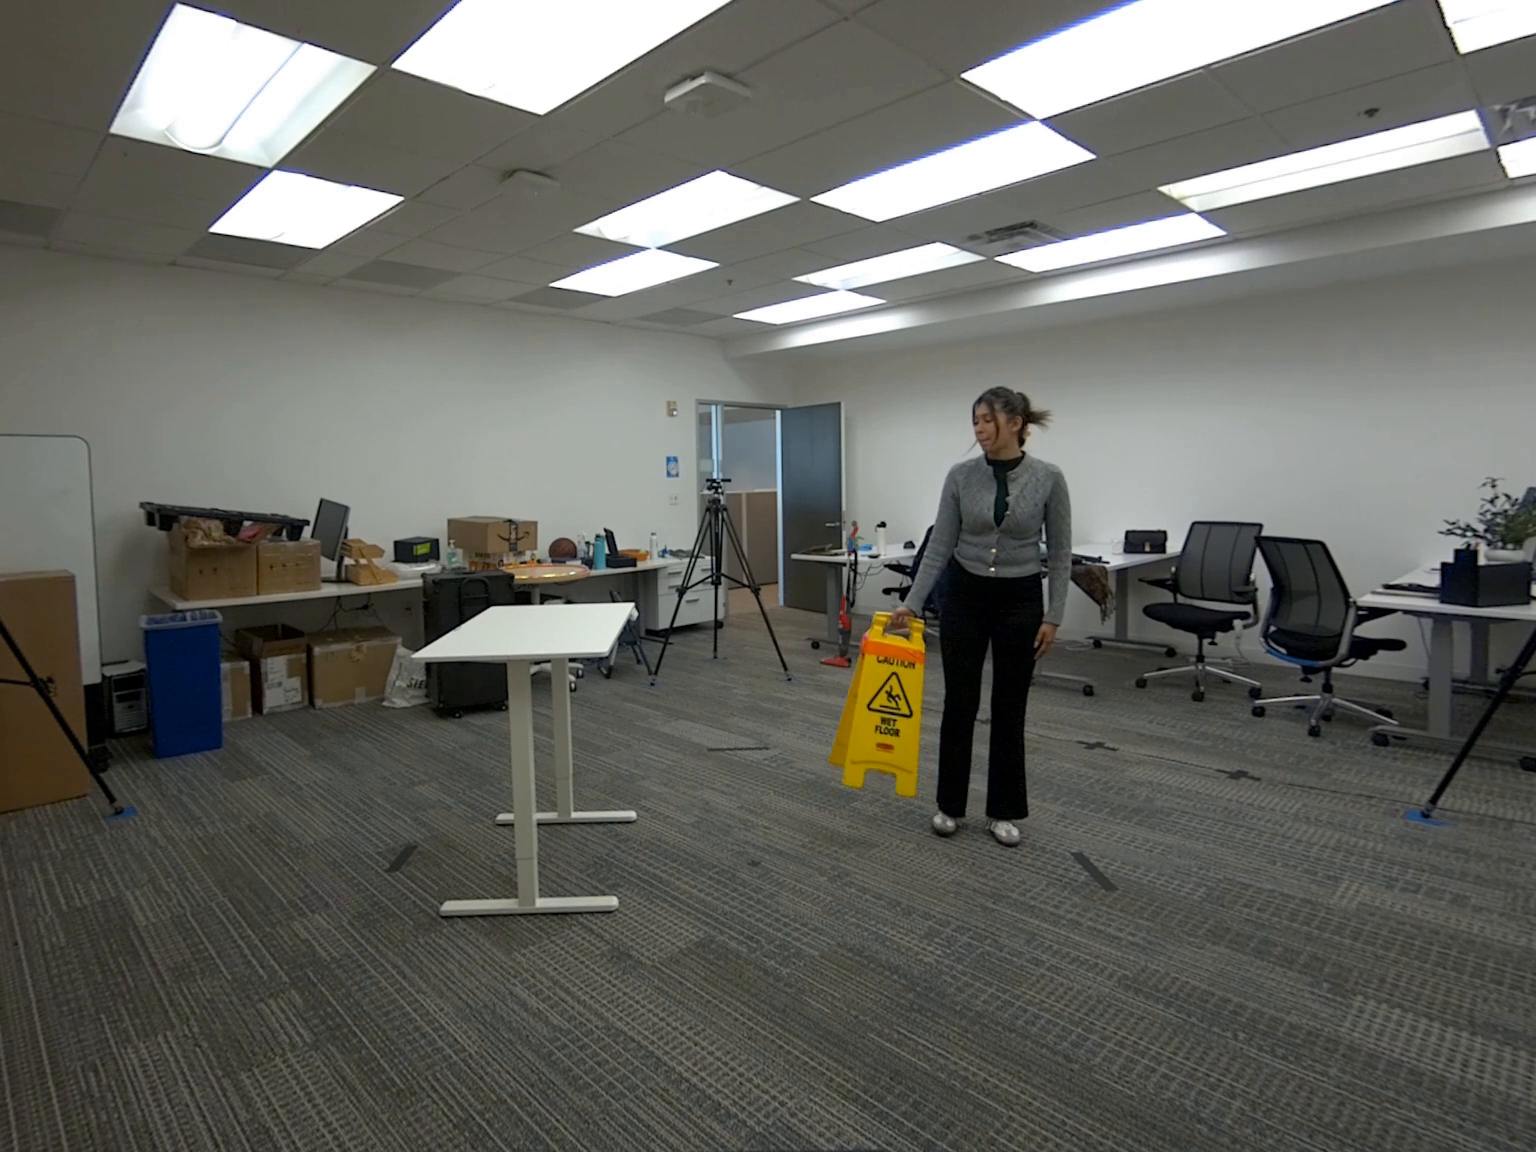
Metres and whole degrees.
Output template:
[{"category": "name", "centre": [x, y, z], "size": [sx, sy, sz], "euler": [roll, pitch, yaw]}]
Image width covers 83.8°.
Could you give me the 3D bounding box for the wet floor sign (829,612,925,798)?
[{"category": "wet floor sign", "centre": [0.464, 0.478, 3.301], "size": [0.281, 0.646, 0.291], "euler": [10, 1, -5]}]
